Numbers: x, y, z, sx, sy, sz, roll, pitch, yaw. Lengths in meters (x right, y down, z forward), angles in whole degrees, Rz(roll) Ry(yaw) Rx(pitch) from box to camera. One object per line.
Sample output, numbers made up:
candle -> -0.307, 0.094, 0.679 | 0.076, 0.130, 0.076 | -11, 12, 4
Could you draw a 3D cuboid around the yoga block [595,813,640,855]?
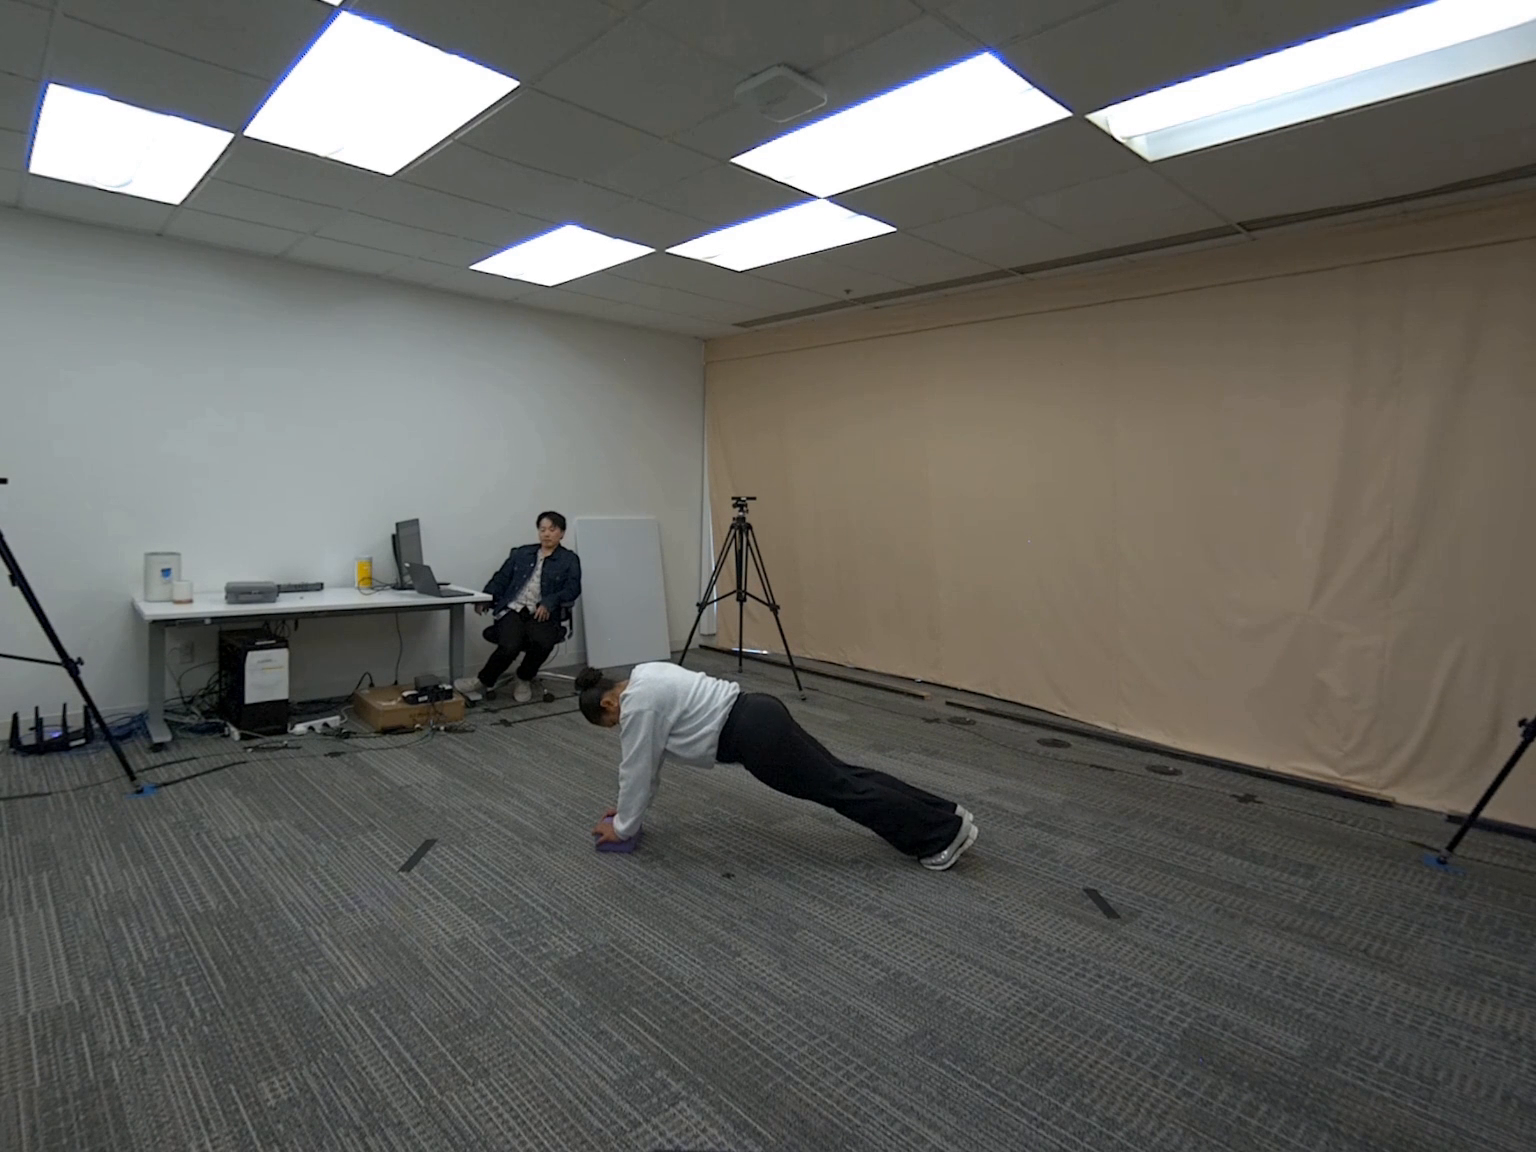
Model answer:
yoga block -> -0.605, 1.021, 3.404 | 0.149, 0.076, 0.230 | -1, 8, 3
